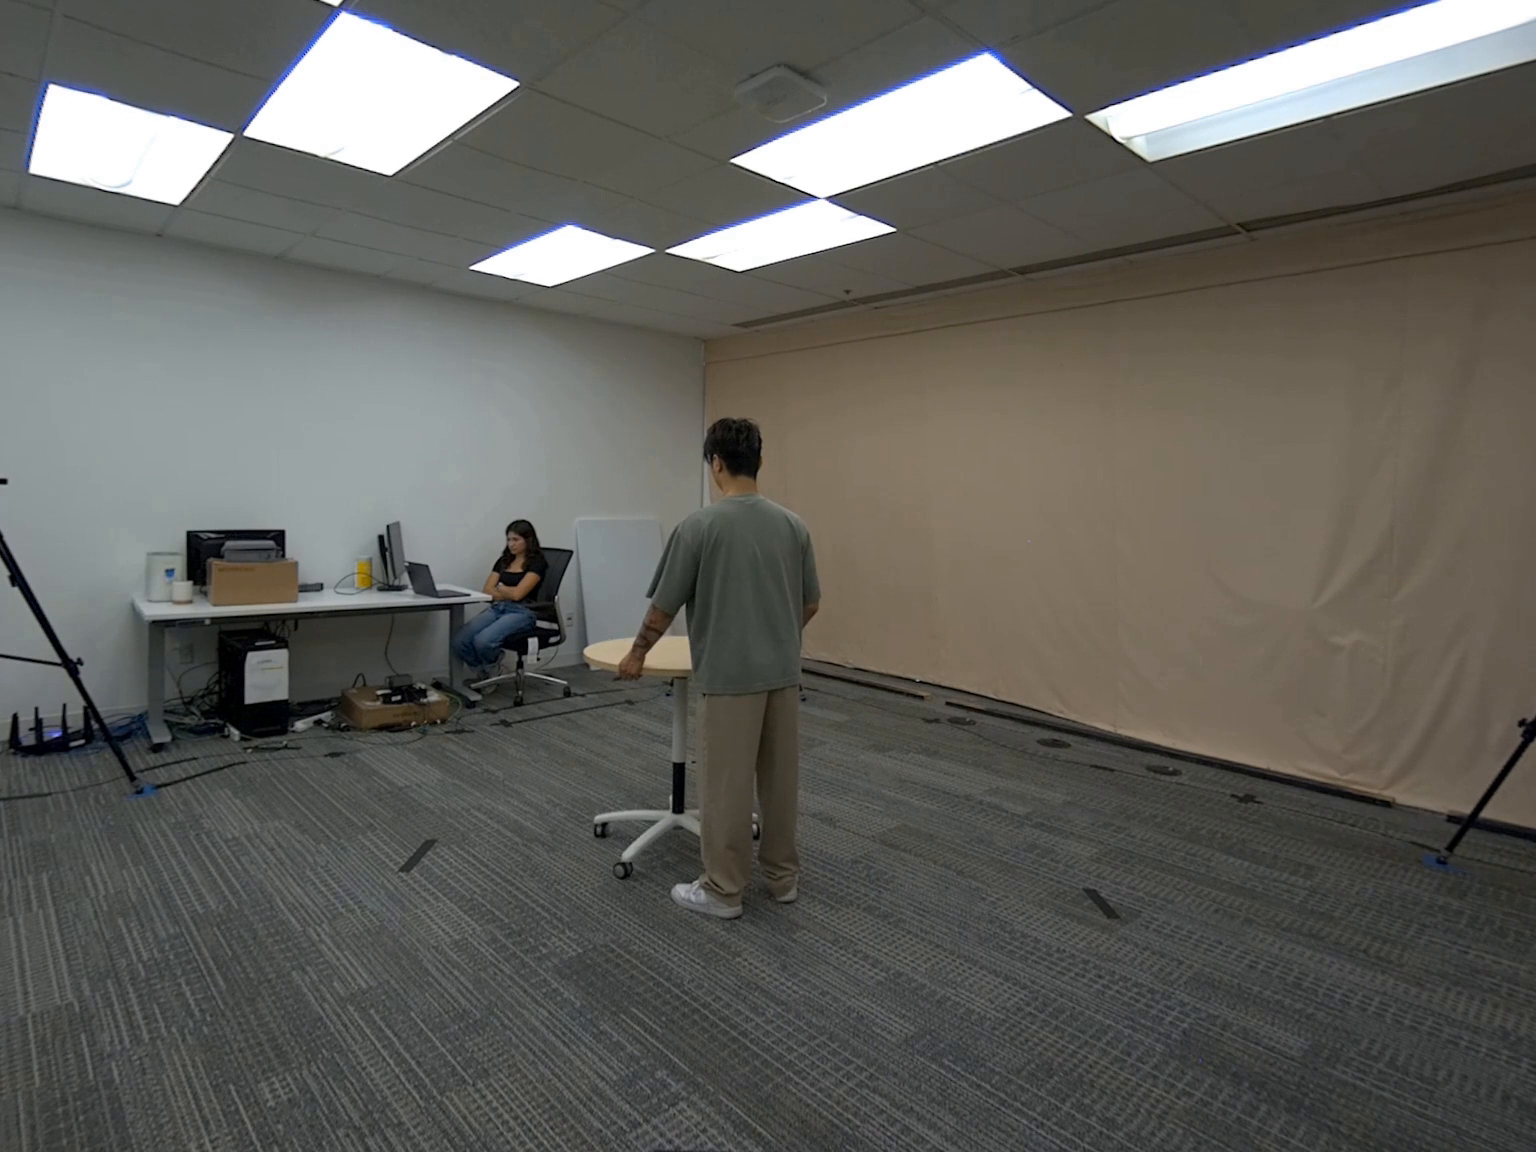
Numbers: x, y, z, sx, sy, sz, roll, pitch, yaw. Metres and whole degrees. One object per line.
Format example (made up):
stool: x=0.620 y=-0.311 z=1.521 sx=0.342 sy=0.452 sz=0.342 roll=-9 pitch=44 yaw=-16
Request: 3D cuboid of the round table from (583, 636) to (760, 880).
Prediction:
round table: x=-0.352 y=0.687 z=3.324 sx=0.784 sy=0.785 sz=0.787 roll=1 pitch=4 yaw=-1
